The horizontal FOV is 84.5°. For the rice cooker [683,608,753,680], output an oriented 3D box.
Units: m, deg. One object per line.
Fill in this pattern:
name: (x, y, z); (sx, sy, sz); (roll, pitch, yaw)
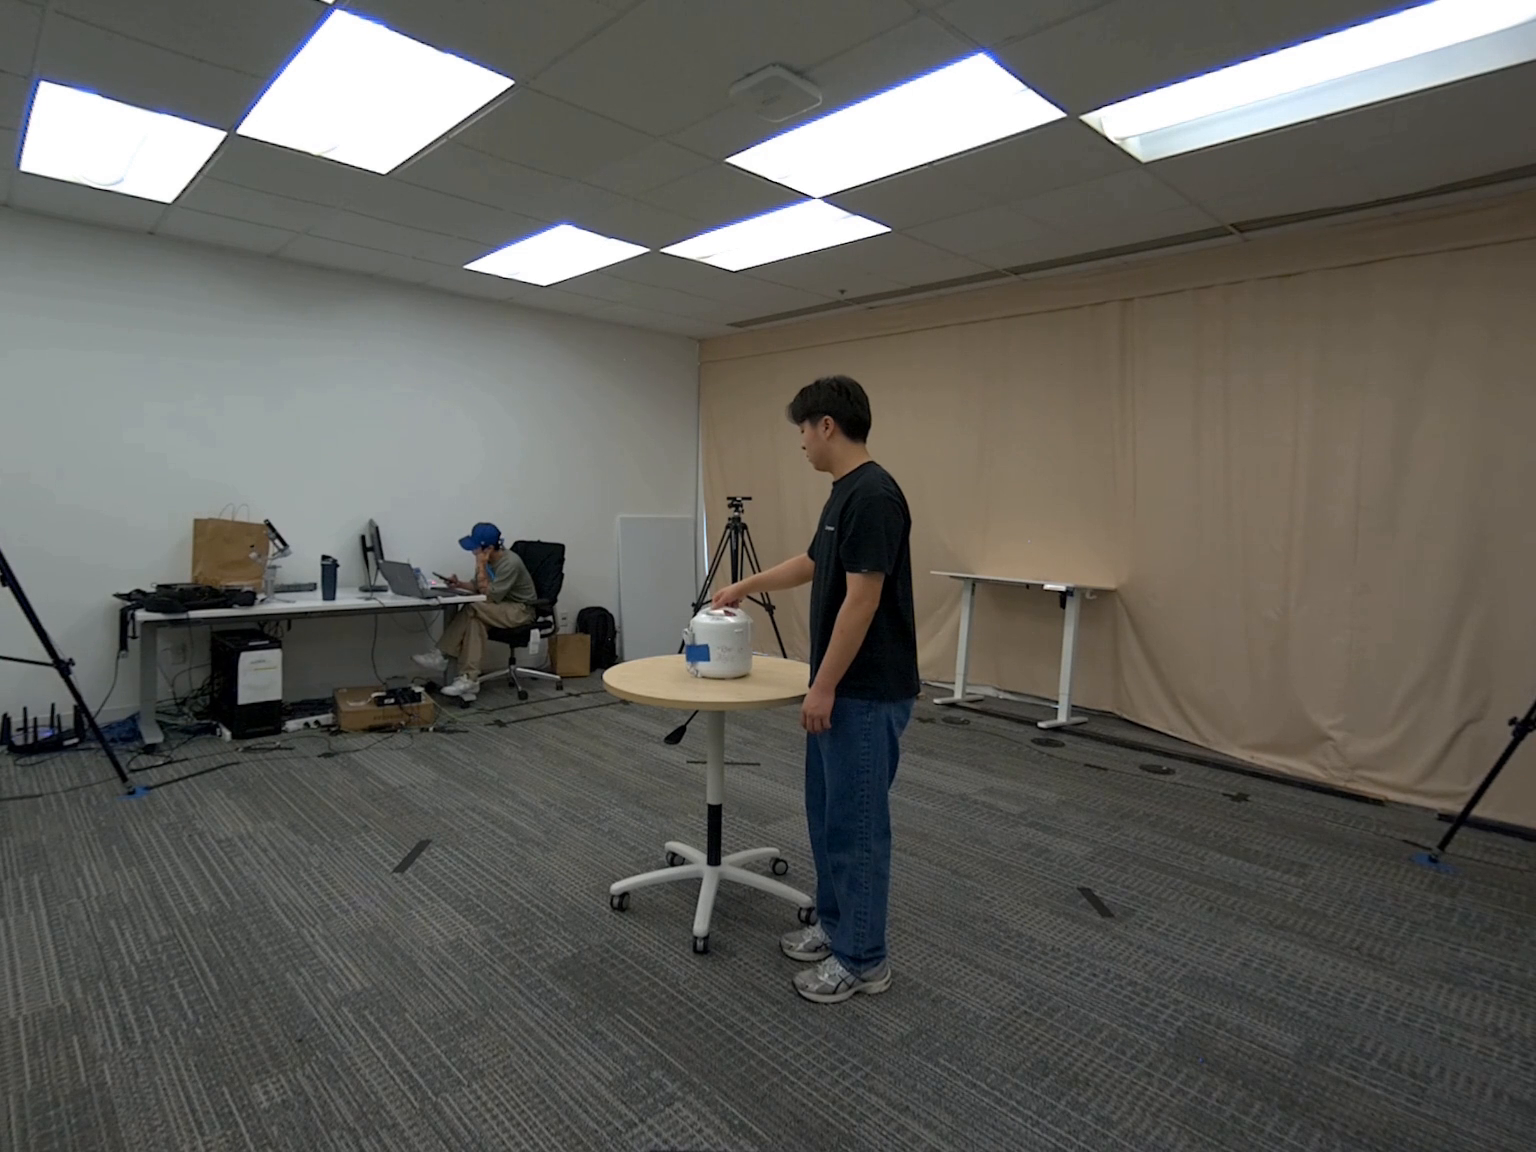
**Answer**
rice cooker: (-0.160, 0.218, 2.847); (0.224, 0.232, 0.215); (3, 5, 18)
